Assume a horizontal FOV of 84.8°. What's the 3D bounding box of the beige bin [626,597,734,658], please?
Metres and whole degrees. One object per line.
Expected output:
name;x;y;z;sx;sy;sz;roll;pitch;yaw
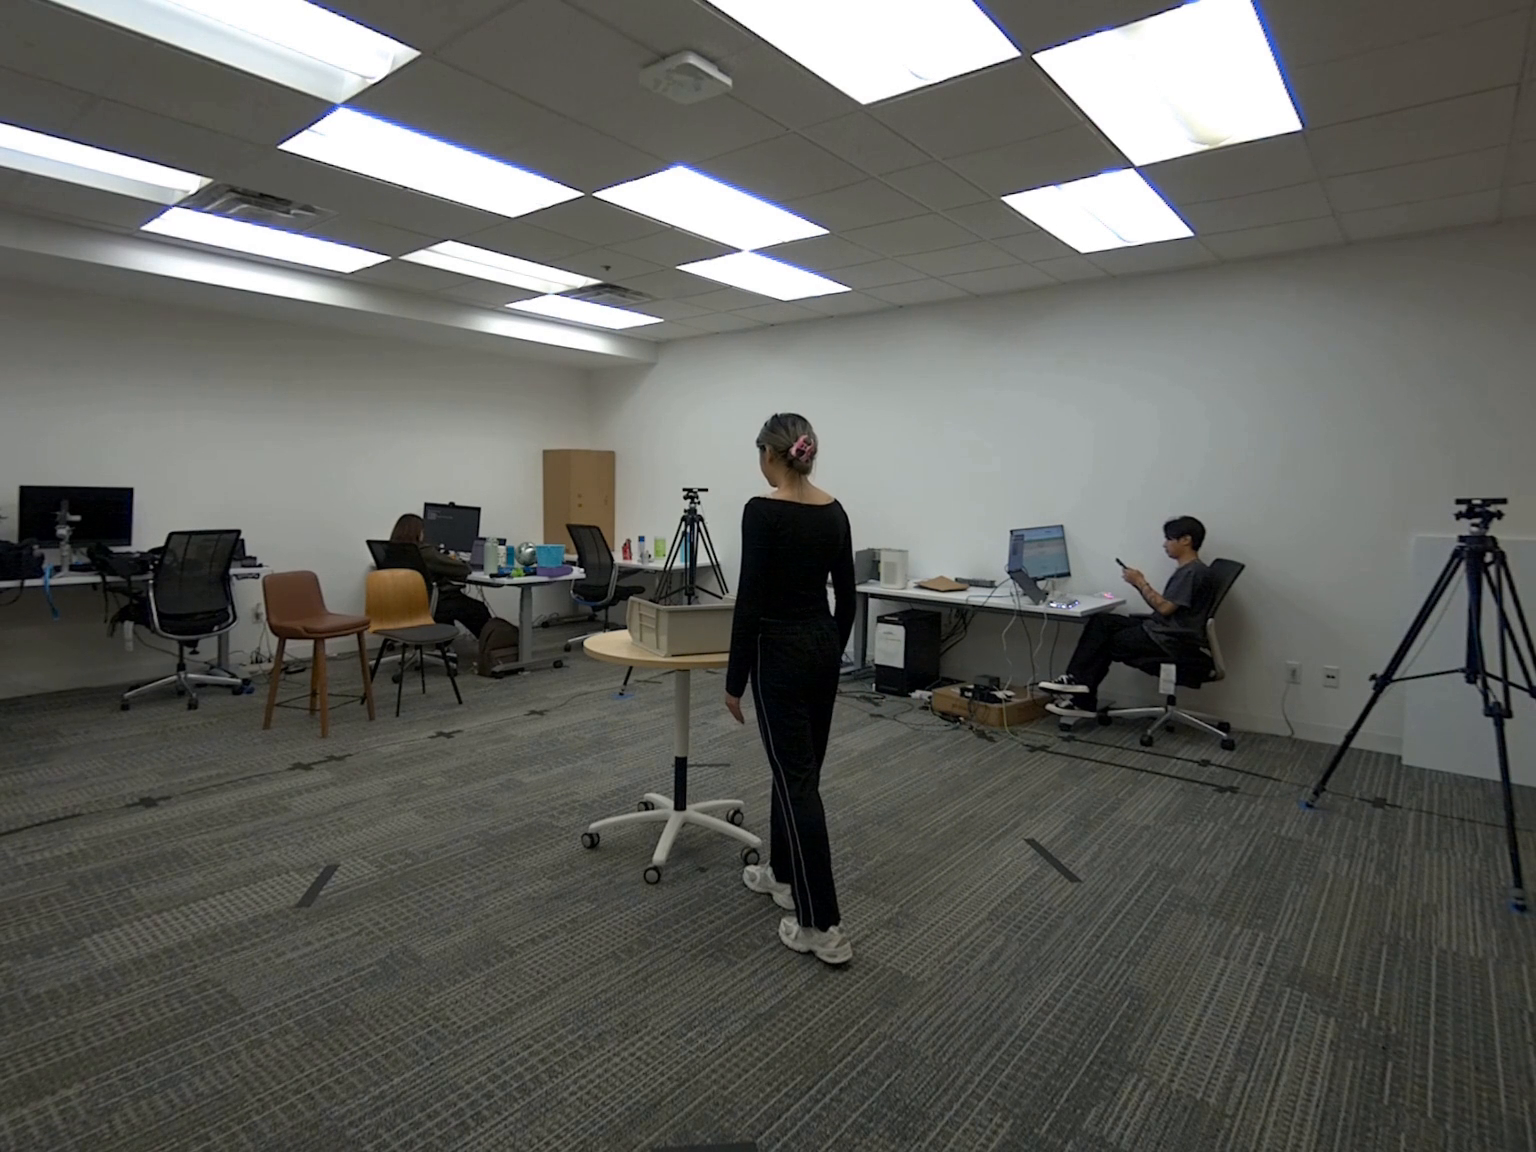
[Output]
beige bin;-0.286;0.174;3.215;0.411;0.188;0.389;-1;6;-28
